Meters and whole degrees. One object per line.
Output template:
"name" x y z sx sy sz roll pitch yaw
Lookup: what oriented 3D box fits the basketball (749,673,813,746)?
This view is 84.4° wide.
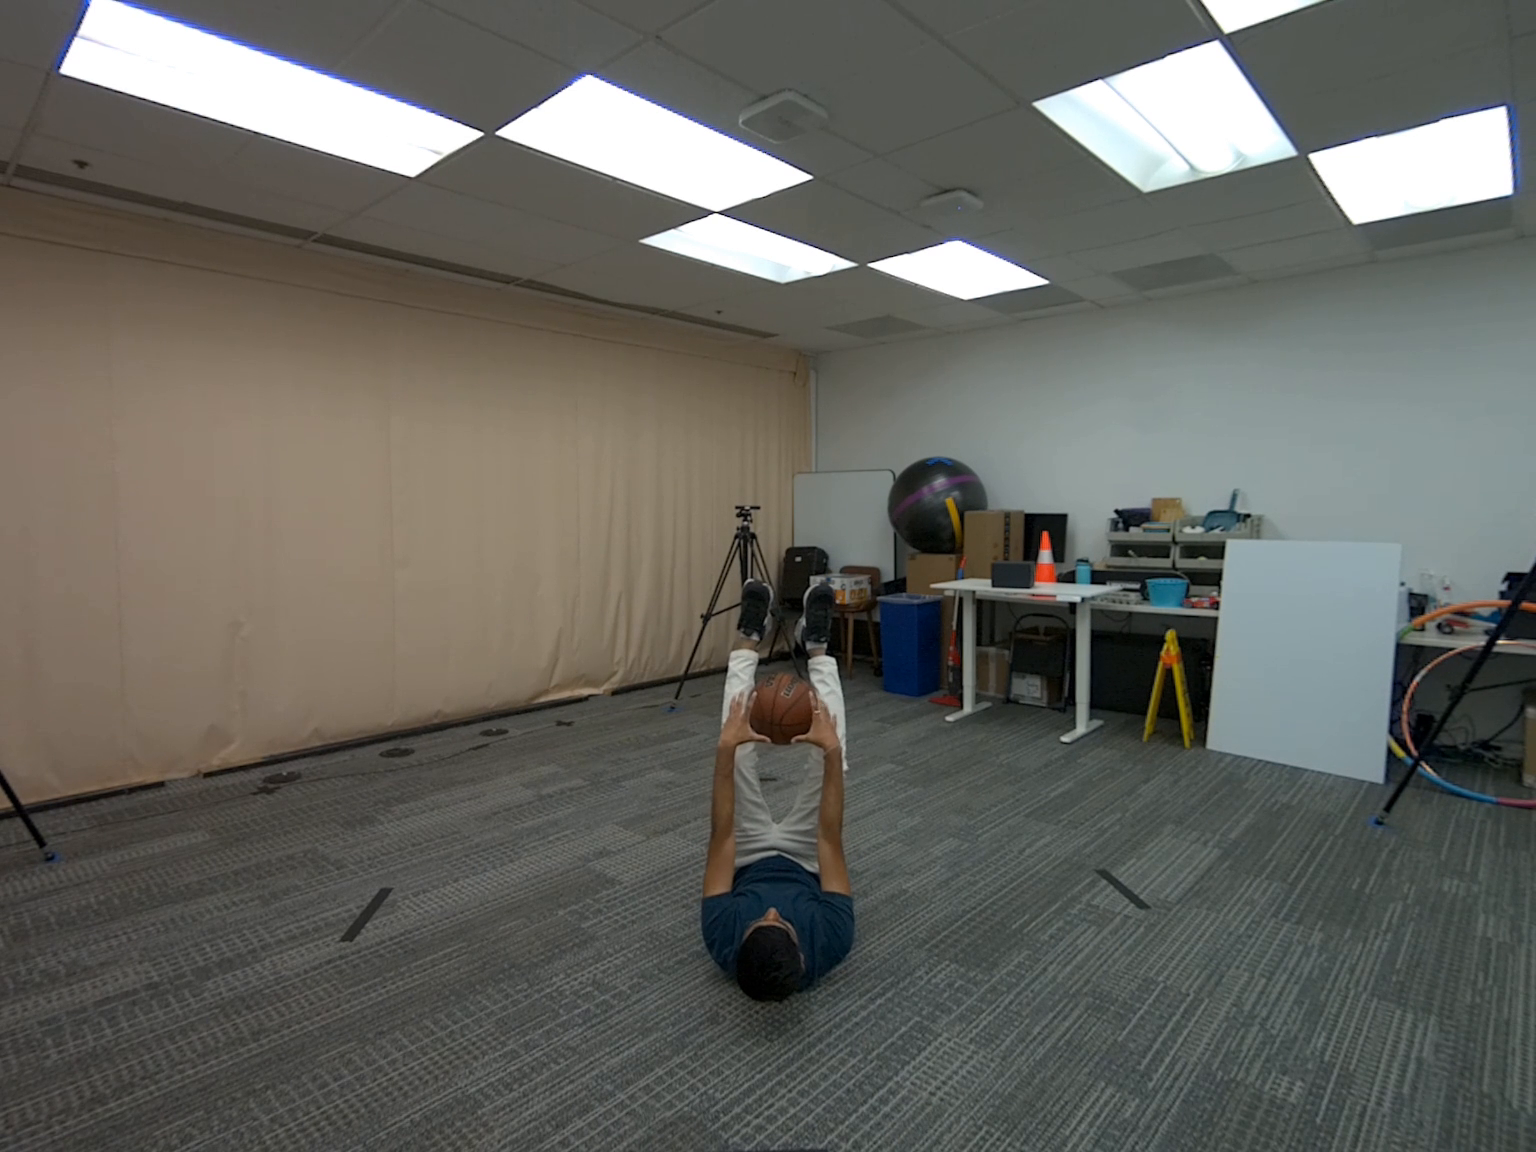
"basketball" 0.056 0.449 2.827 0.236 0.235 0.237 0 4 -2
